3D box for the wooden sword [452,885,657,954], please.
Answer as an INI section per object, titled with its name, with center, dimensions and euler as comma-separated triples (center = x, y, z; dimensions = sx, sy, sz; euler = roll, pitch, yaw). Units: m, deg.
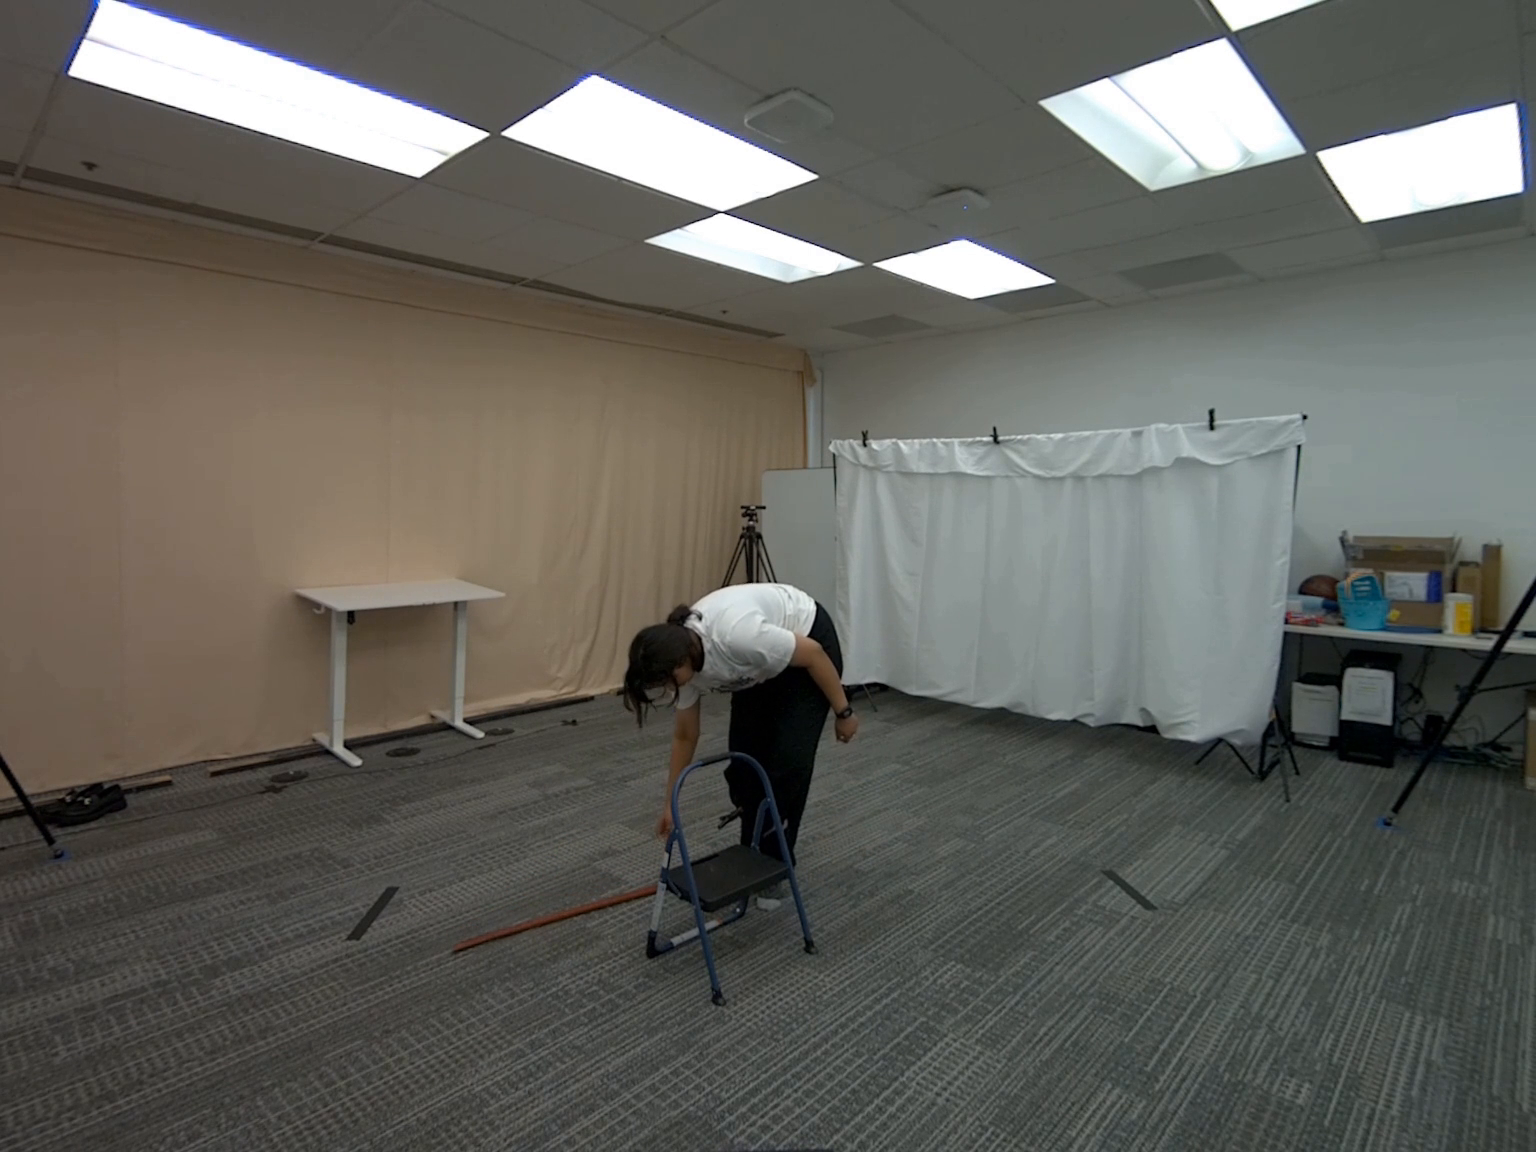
[wooden sword]
center = -0.571, 1.141, 2.919
dimensions = 0.996, 0.052, 0.024
euler = -3, -10, -32
